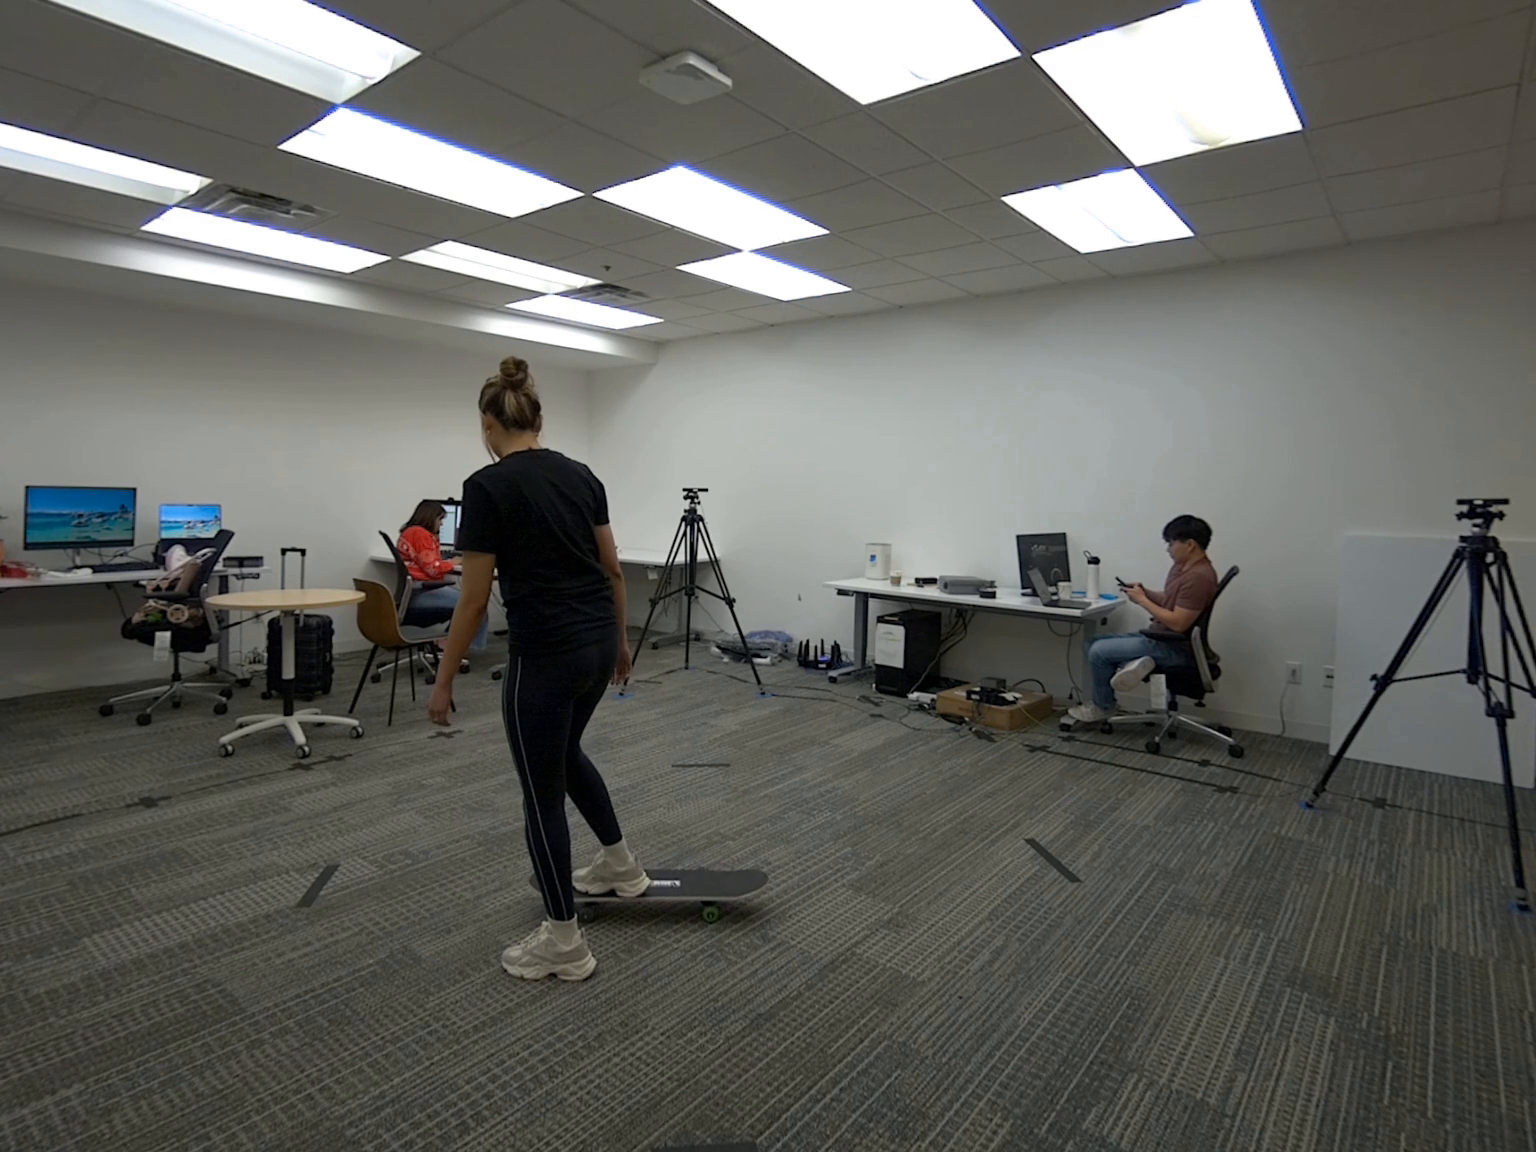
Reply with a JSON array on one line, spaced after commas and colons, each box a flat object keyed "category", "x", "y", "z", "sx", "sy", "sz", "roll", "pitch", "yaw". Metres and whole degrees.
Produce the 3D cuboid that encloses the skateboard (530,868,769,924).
[{"category": "skateboard", "x": -0.404, "y": 1.040, "z": 2.802, "sx": 0.784, "sy": 0.110, "sz": 0.194, "roll": 0, "pitch": 6, "yaw": -1}]
